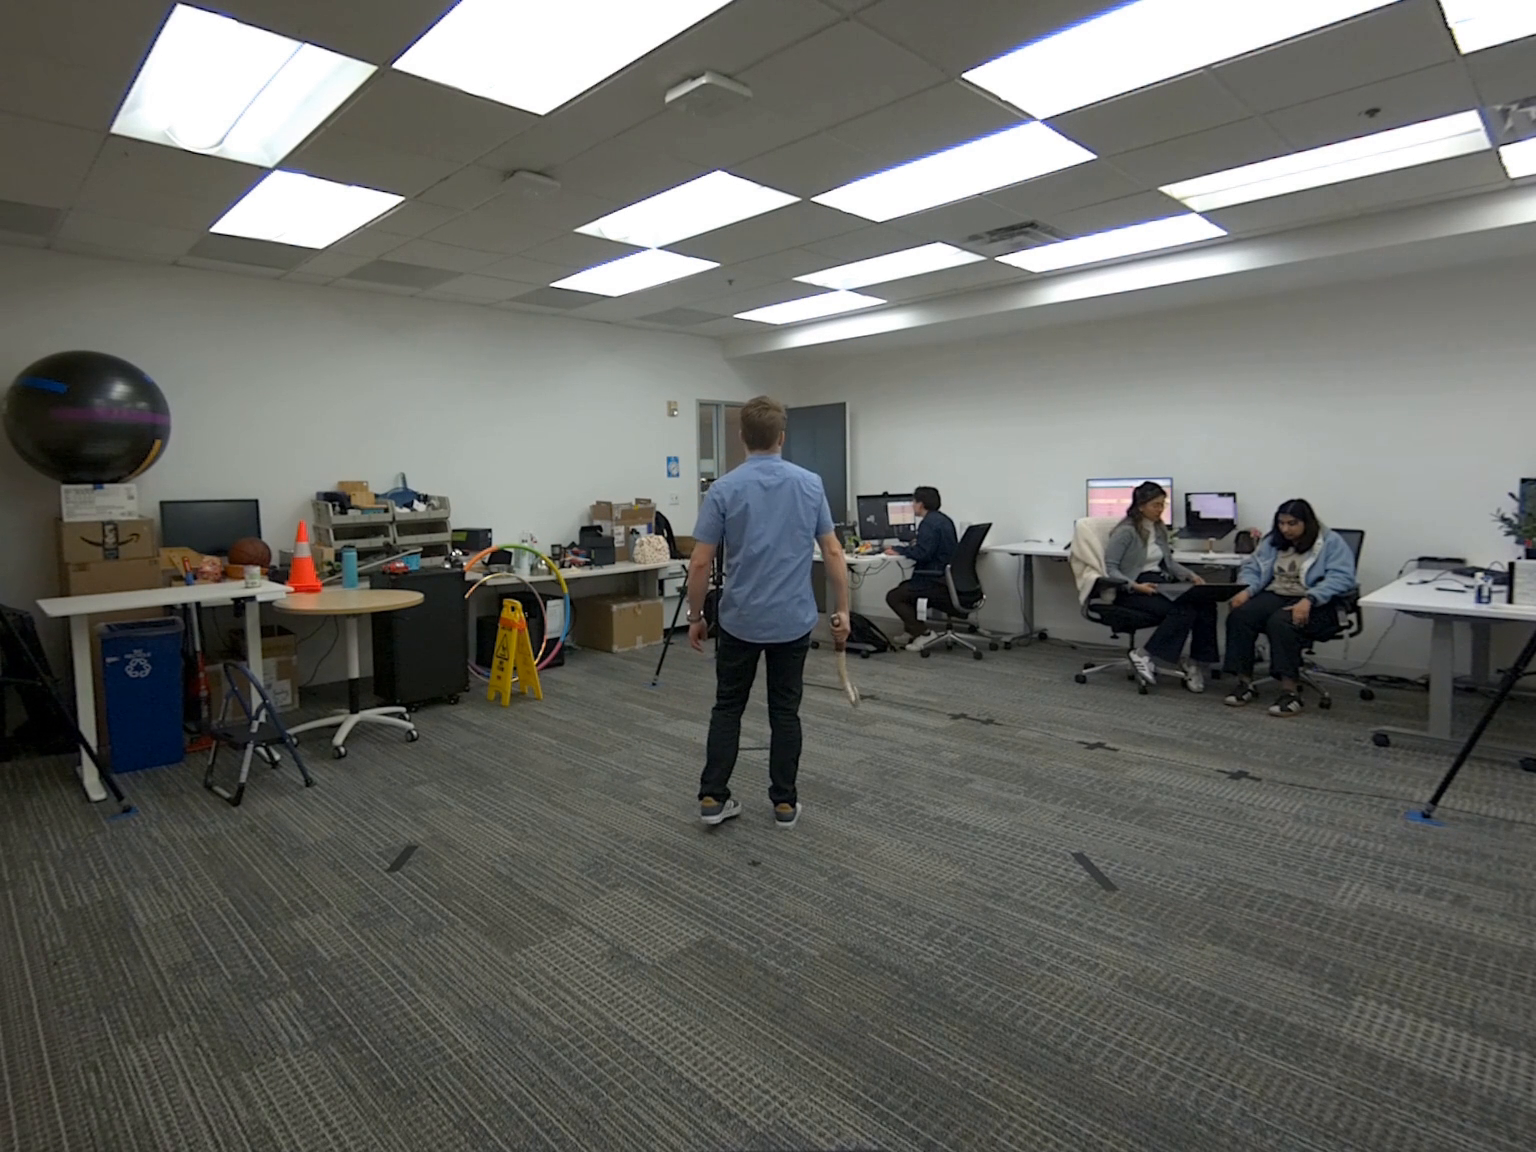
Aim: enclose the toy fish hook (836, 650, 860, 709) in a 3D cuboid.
[{"bbox_3d":[0.323,0.361,3.577,0.048,0.489,0.233,-23,44,-6],"label":"toy fish hook"}]
